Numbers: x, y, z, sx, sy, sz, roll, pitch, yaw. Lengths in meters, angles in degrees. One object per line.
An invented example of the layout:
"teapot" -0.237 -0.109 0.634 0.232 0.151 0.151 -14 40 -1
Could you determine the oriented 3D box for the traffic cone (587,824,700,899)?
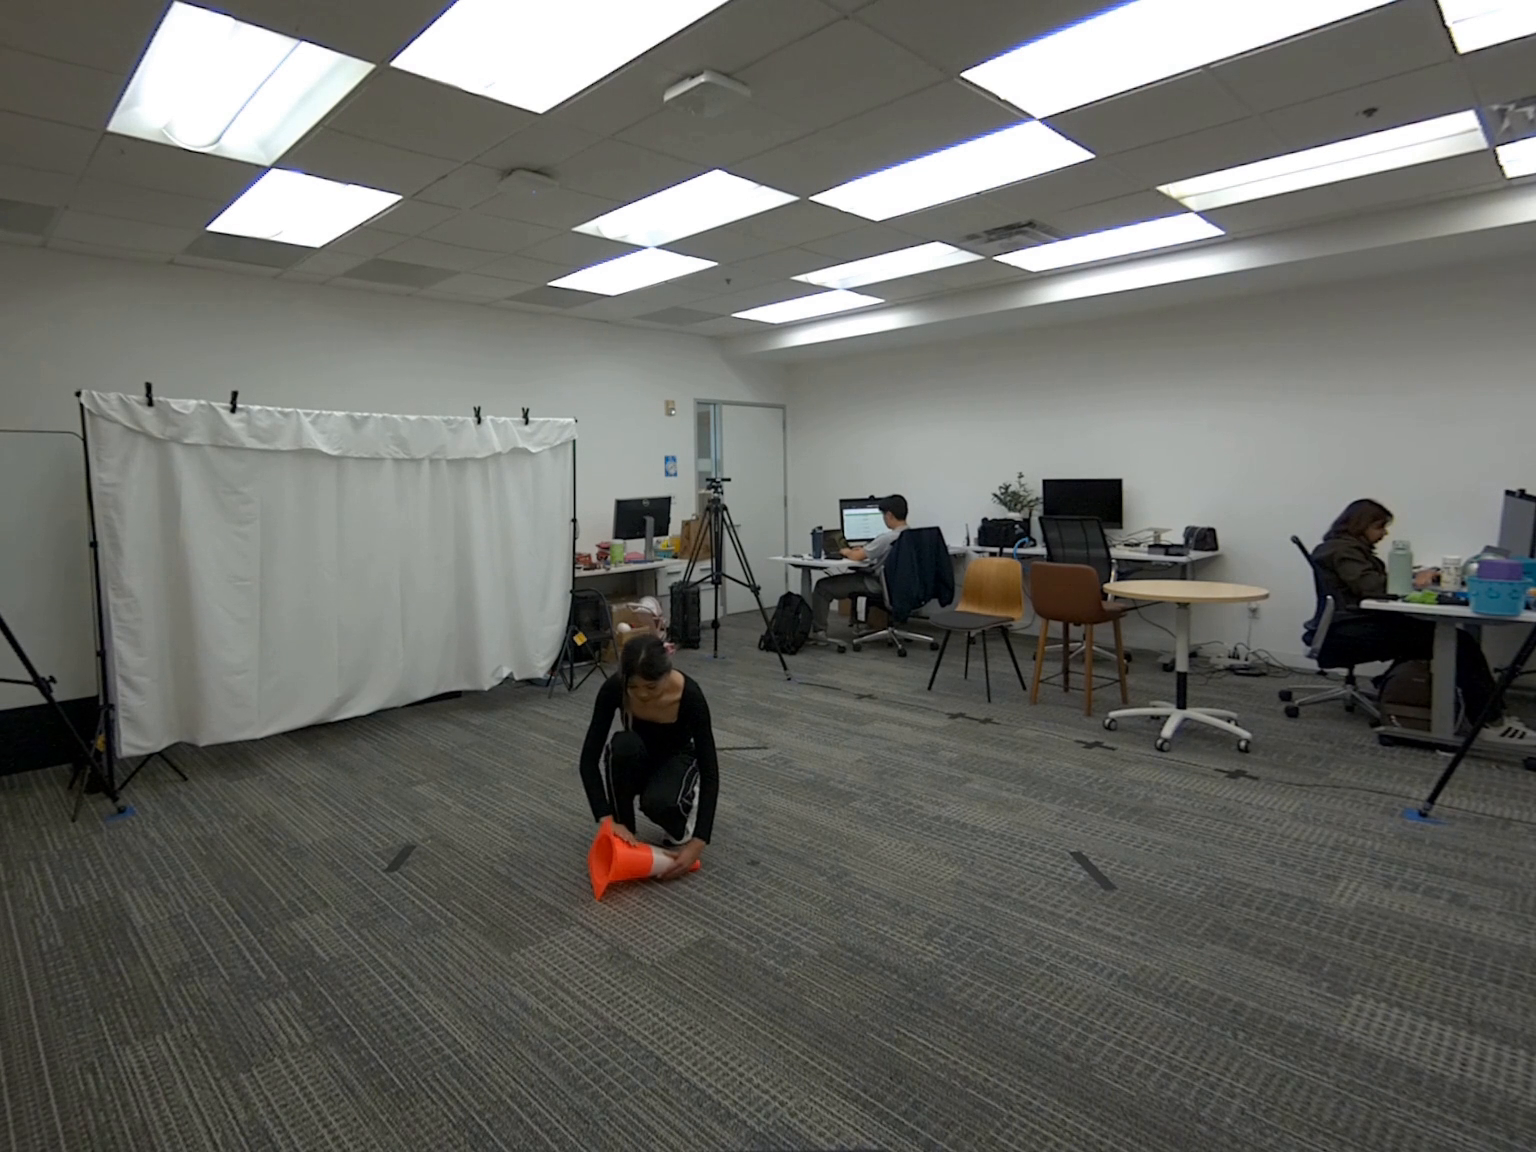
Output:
"traffic cone" -0.406 1.004 2.977 0.372 0.203 0.211 16 22 -29
